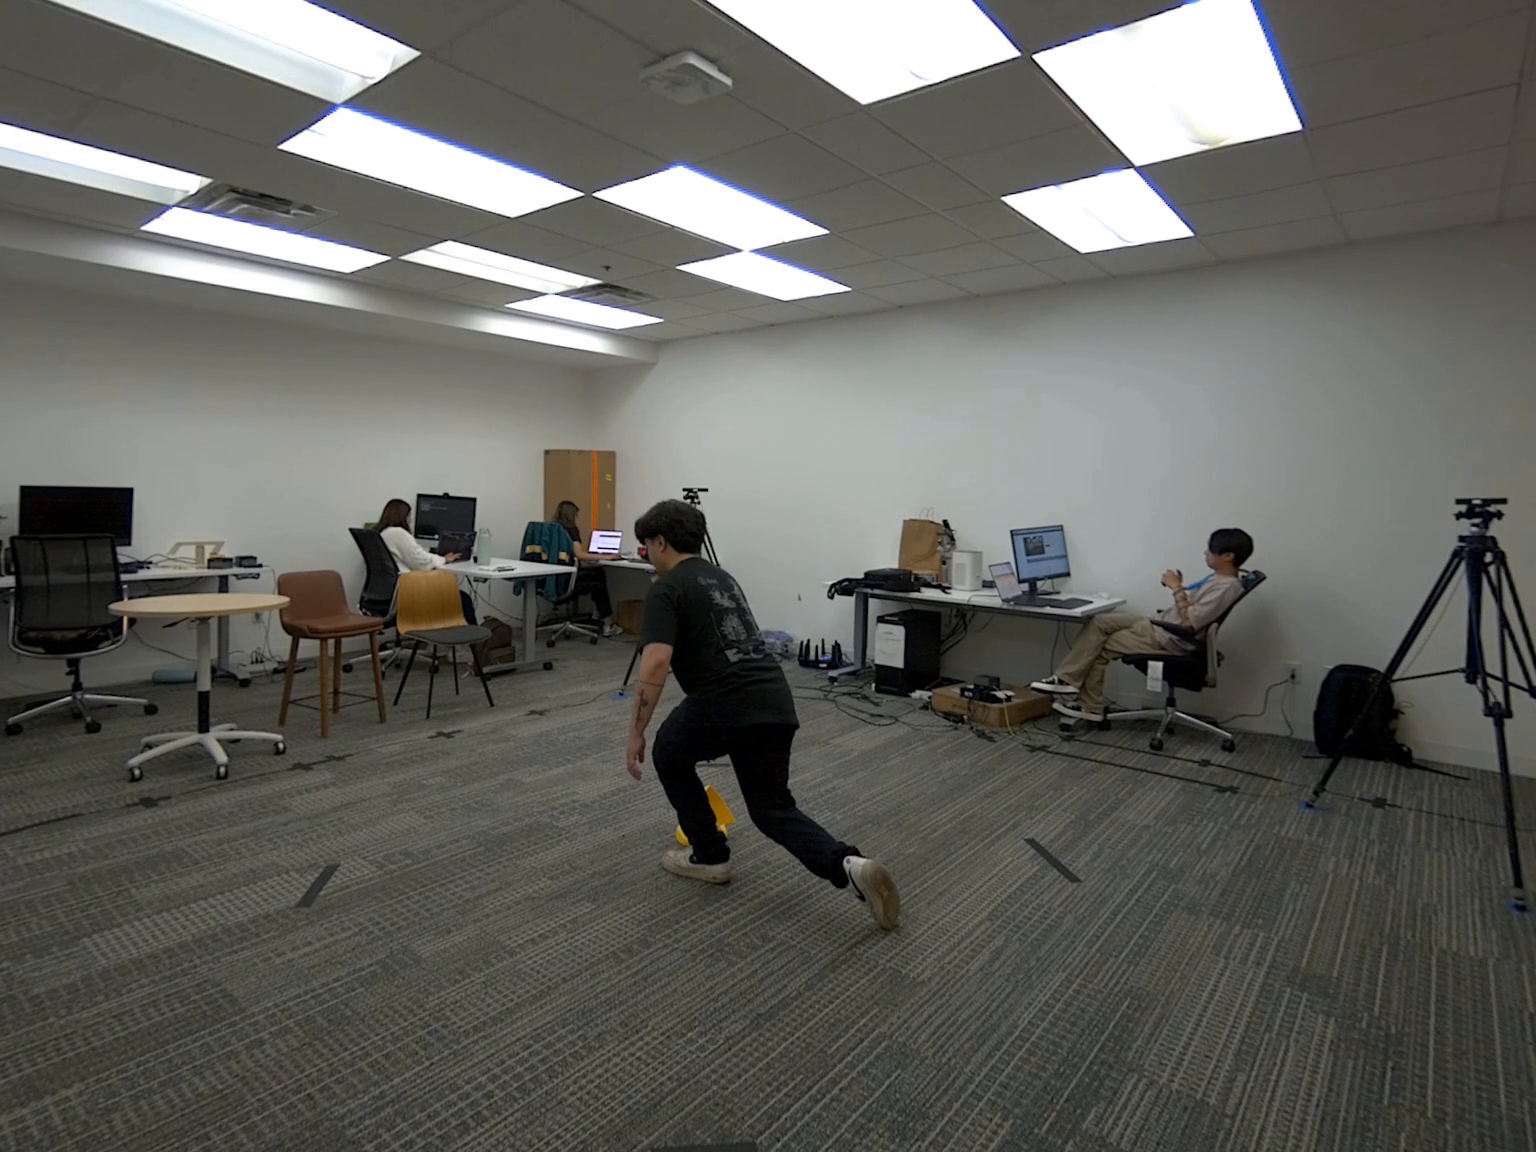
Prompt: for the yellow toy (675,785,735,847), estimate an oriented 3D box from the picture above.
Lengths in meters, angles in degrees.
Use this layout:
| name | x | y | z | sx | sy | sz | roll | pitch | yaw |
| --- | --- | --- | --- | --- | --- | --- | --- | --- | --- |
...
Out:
| name | x | y | z | sx | sy | sz | roll | pitch | yaw |
| --- | --- | --- | --- | --- | --- | --- | --- | --- | --- |
| yellow toy | -0.268 | 0.926 | 3.389 | 0.199 | 0.230 | 0.198 | -2 | 4 | -28 |
